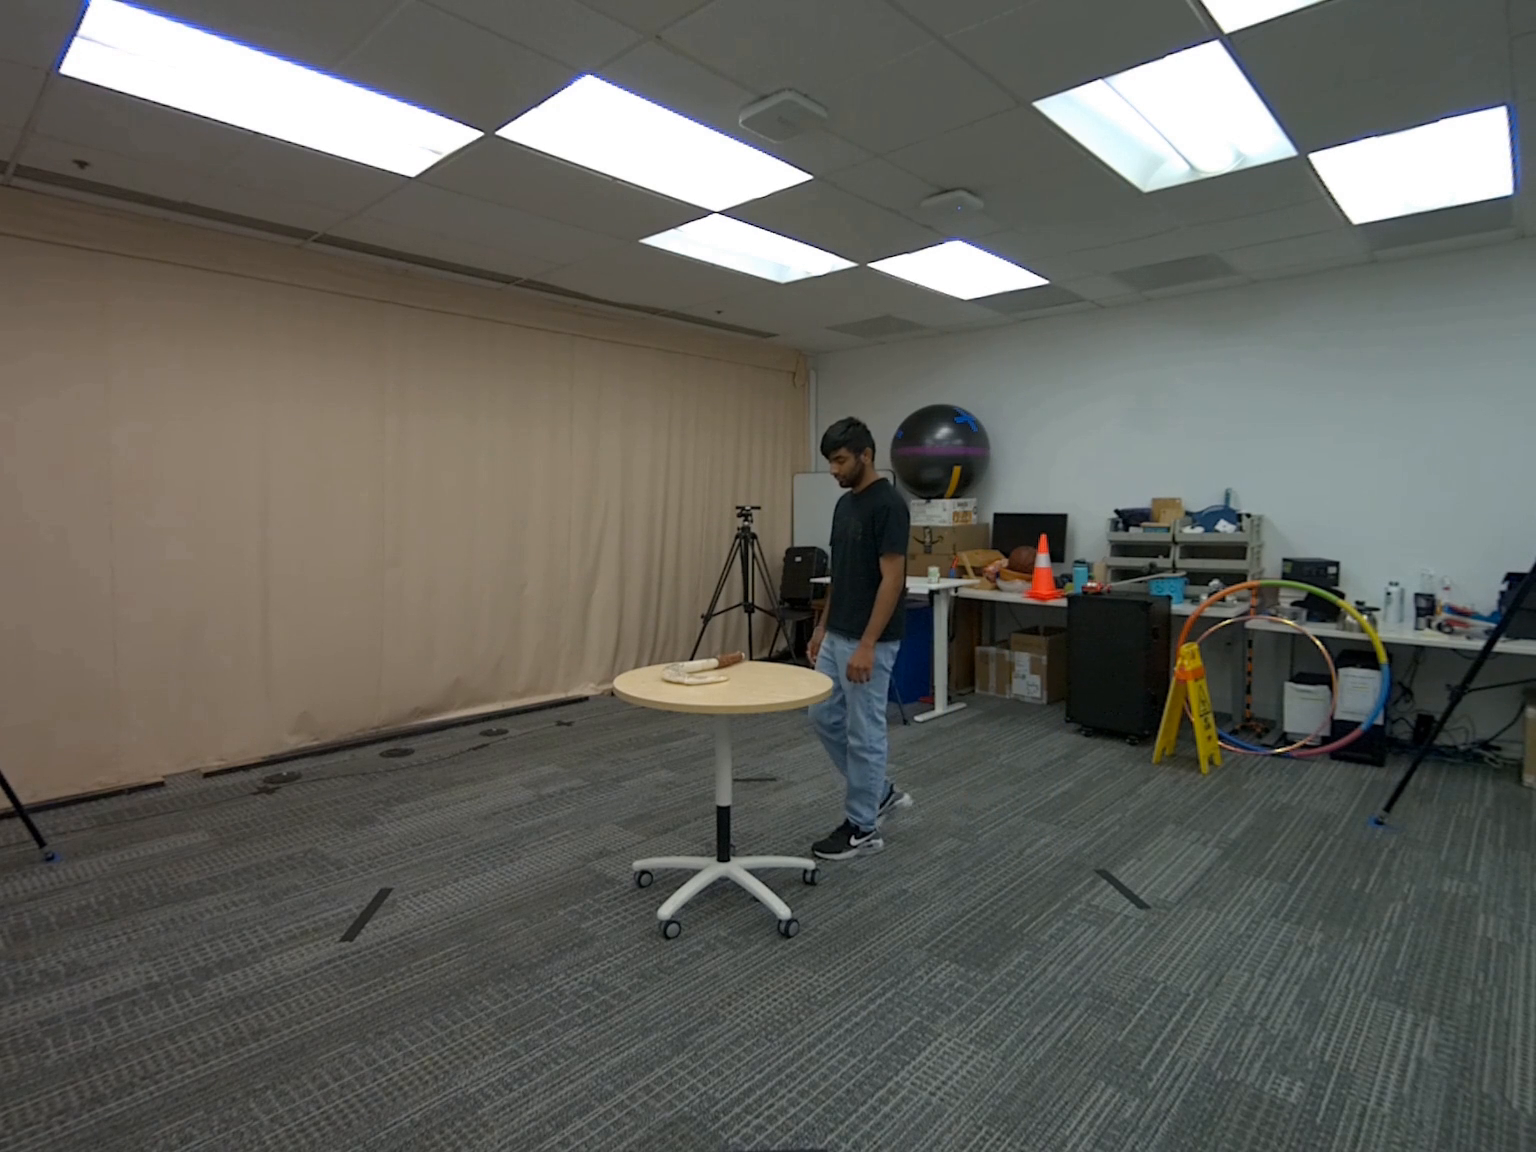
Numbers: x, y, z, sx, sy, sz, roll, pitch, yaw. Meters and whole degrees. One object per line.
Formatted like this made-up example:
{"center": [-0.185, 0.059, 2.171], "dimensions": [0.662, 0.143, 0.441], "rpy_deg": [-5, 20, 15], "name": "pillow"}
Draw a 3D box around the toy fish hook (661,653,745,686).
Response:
{"center": [-0.189, 0.341, 3.084], "dimensions": [0.231, 0.048, 0.493], "rpy_deg": [8, 9, 30], "name": "toy fish hook"}
